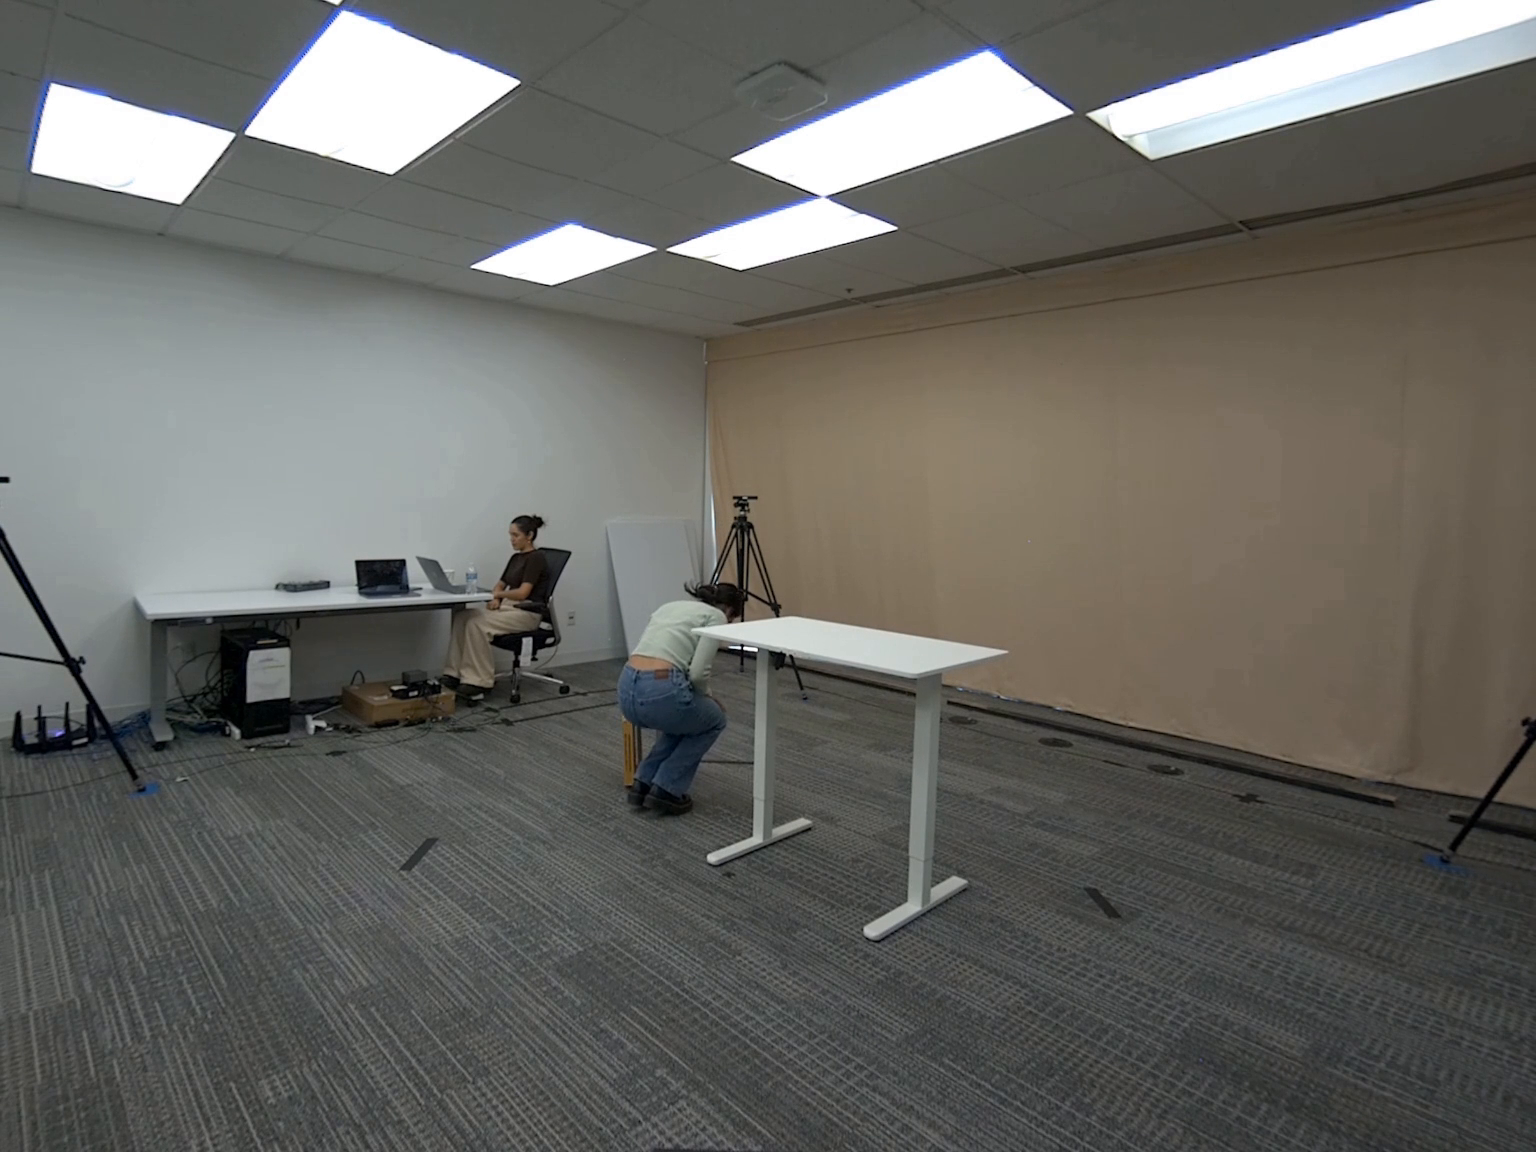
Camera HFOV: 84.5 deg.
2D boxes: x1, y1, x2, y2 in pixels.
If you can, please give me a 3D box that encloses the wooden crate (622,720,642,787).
[{"bbox_3d":[-0.587,0.835,4.131,0.271,0.325,0.304,-3,0,-9],"label":"wooden crate"}]
